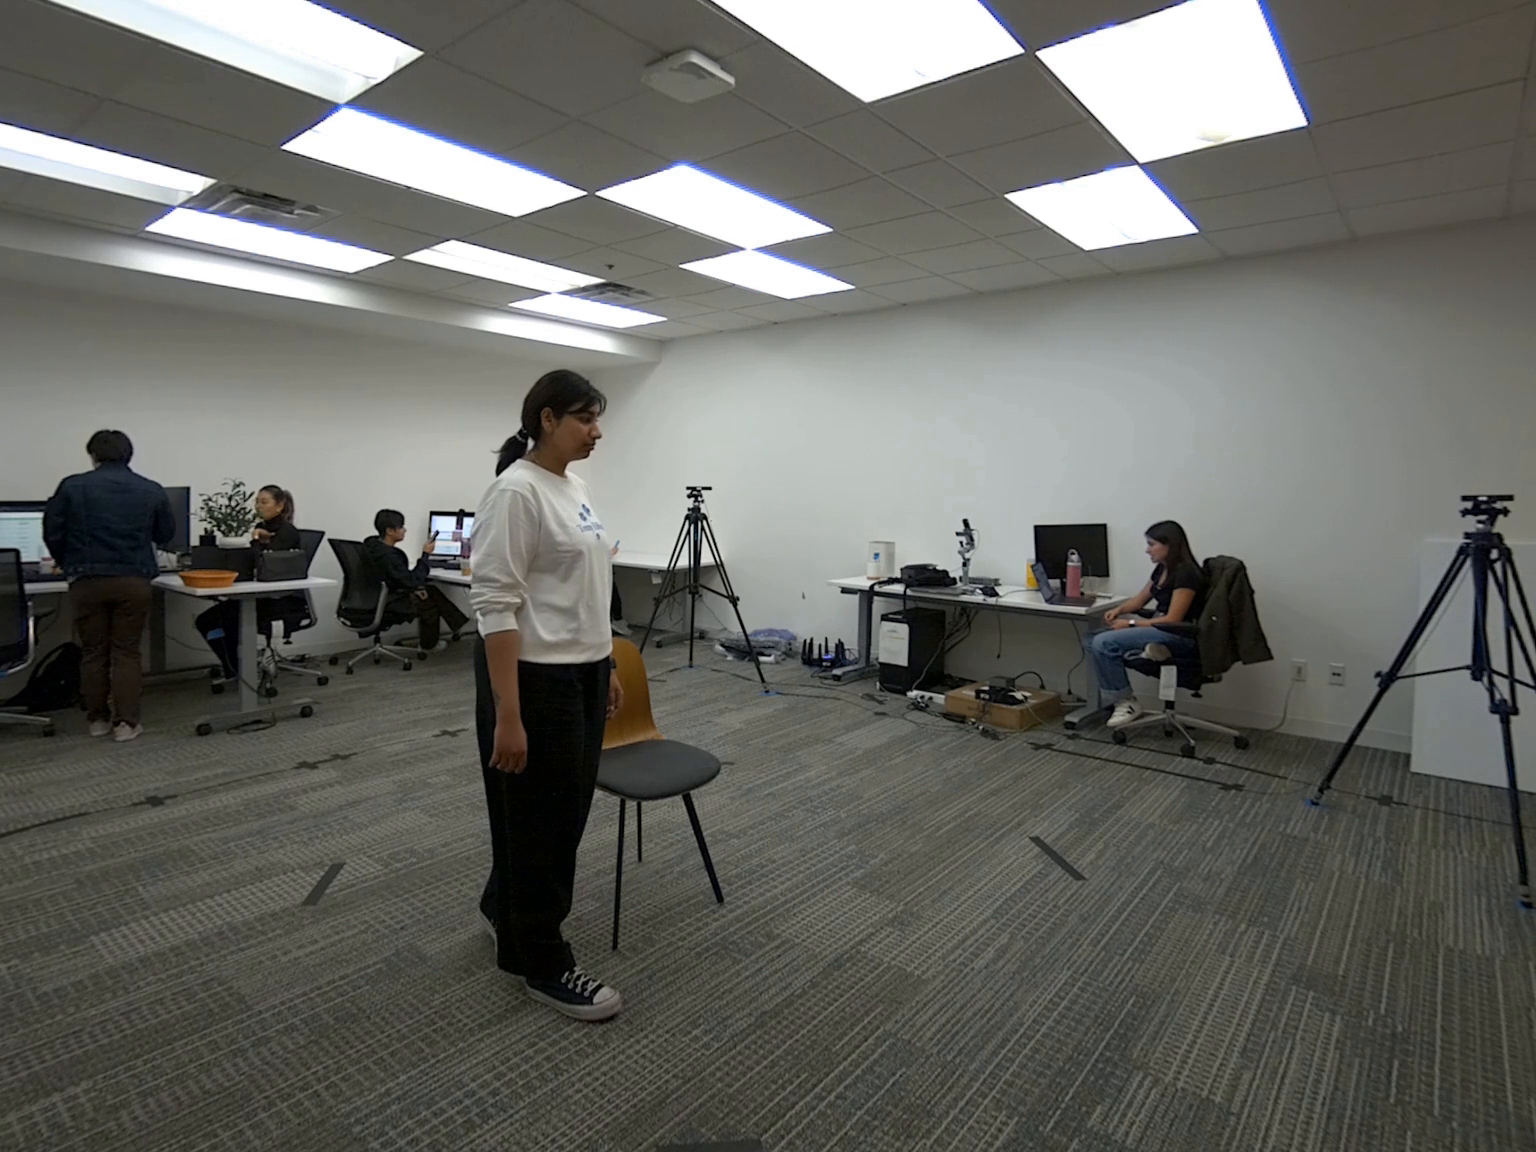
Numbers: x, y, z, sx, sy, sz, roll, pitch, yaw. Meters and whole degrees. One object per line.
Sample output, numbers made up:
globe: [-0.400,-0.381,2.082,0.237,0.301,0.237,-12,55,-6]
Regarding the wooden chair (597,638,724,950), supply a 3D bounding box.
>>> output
wooden chair: [-0.448,0.659,2.829,0.463,0.878,0.539,-2,0,-45]
